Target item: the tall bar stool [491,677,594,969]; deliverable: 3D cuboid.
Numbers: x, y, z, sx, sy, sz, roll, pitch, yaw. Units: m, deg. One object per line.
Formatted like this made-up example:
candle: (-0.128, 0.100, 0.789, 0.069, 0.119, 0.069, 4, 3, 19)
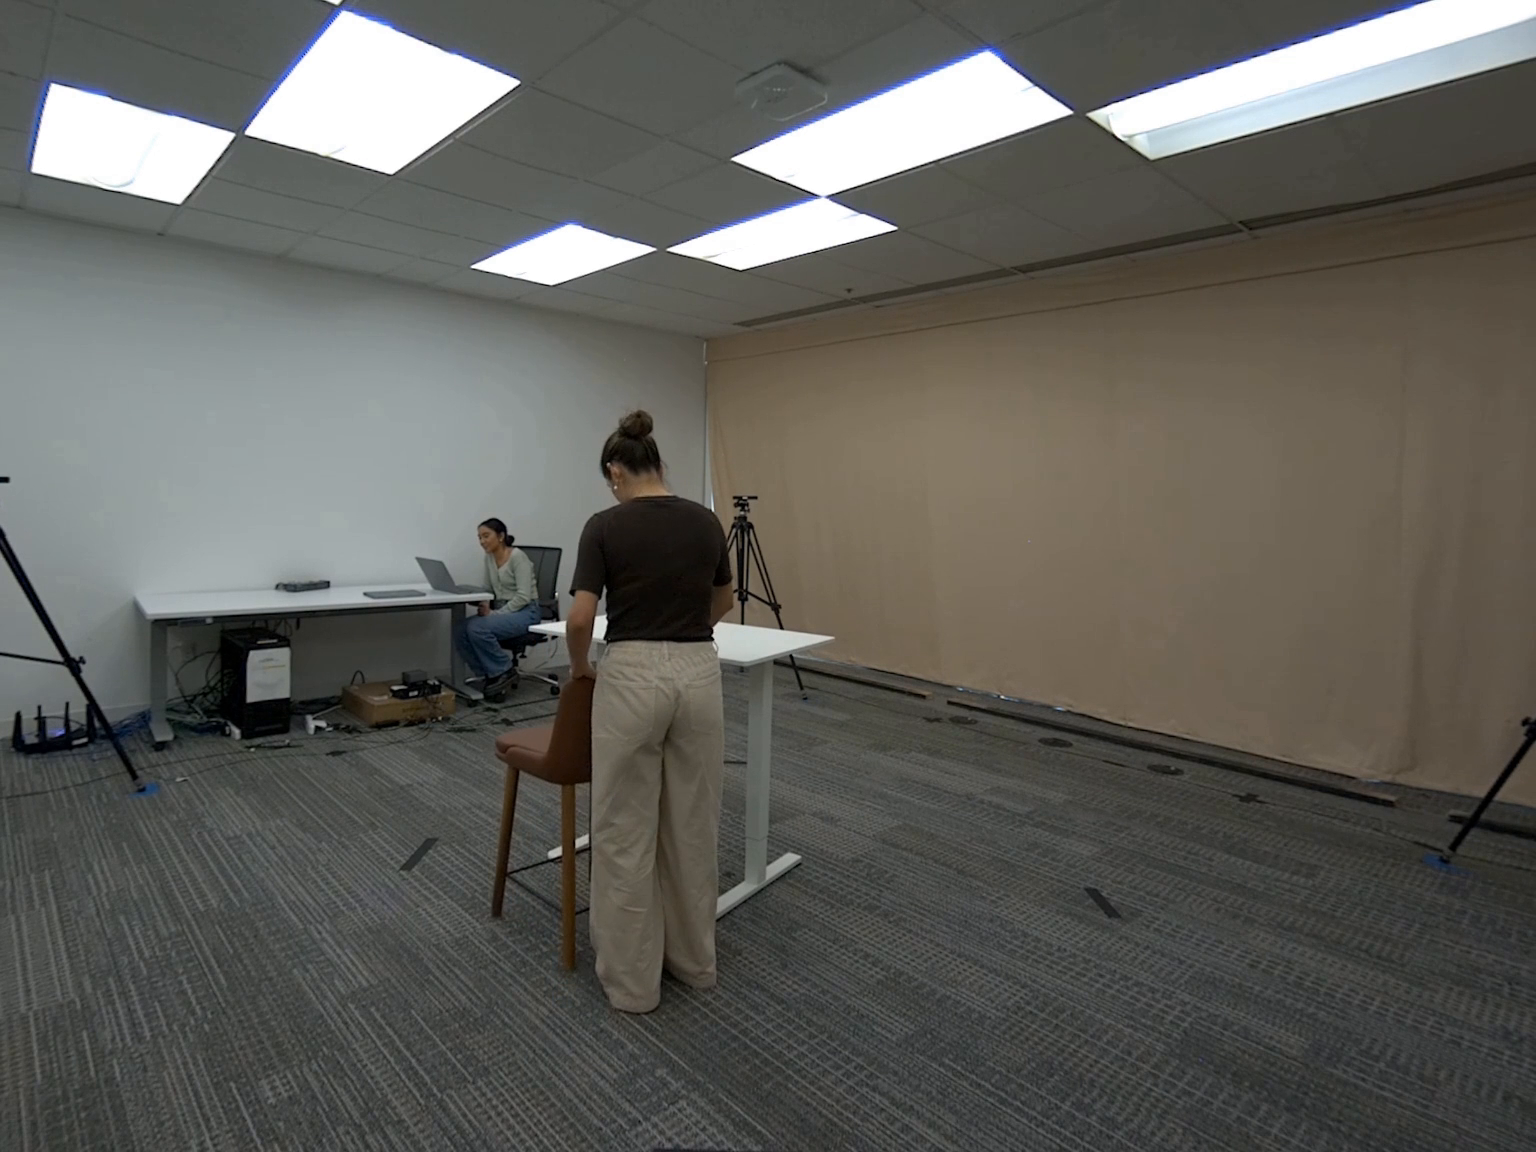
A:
tall bar stool: (-0.599, 0.692, 2.702, 0.446, 0.886, 0.480, -2, 7, -44)
